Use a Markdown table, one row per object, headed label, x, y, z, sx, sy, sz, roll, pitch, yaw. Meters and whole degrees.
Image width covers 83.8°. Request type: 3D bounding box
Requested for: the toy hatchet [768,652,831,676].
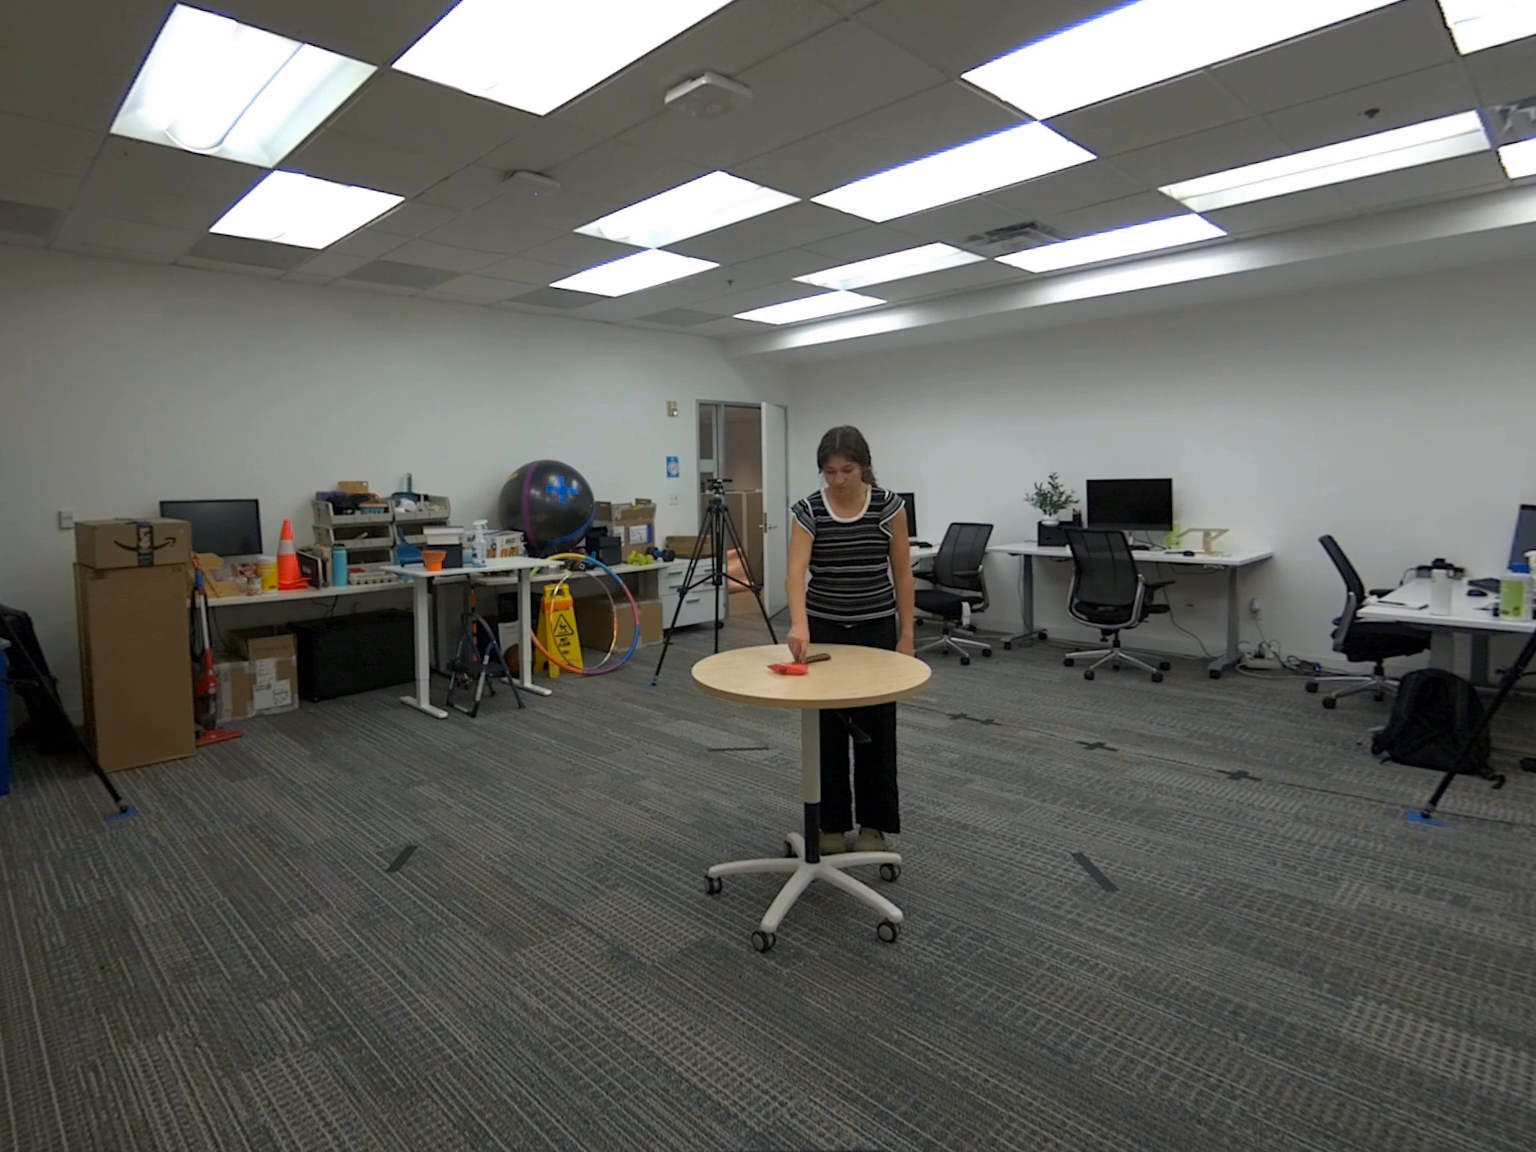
| label | x | y | z | sx | sy | sz | roll | pitch | yaw |
| --- | --- | --- | --- | --- | --- | --- | --- | --- | --- |
| toy hatchet | 0.139 | 0.283 | 2.770 | 0.263 | 0.029 | 0.135 | -5 | 6 | -38 |
